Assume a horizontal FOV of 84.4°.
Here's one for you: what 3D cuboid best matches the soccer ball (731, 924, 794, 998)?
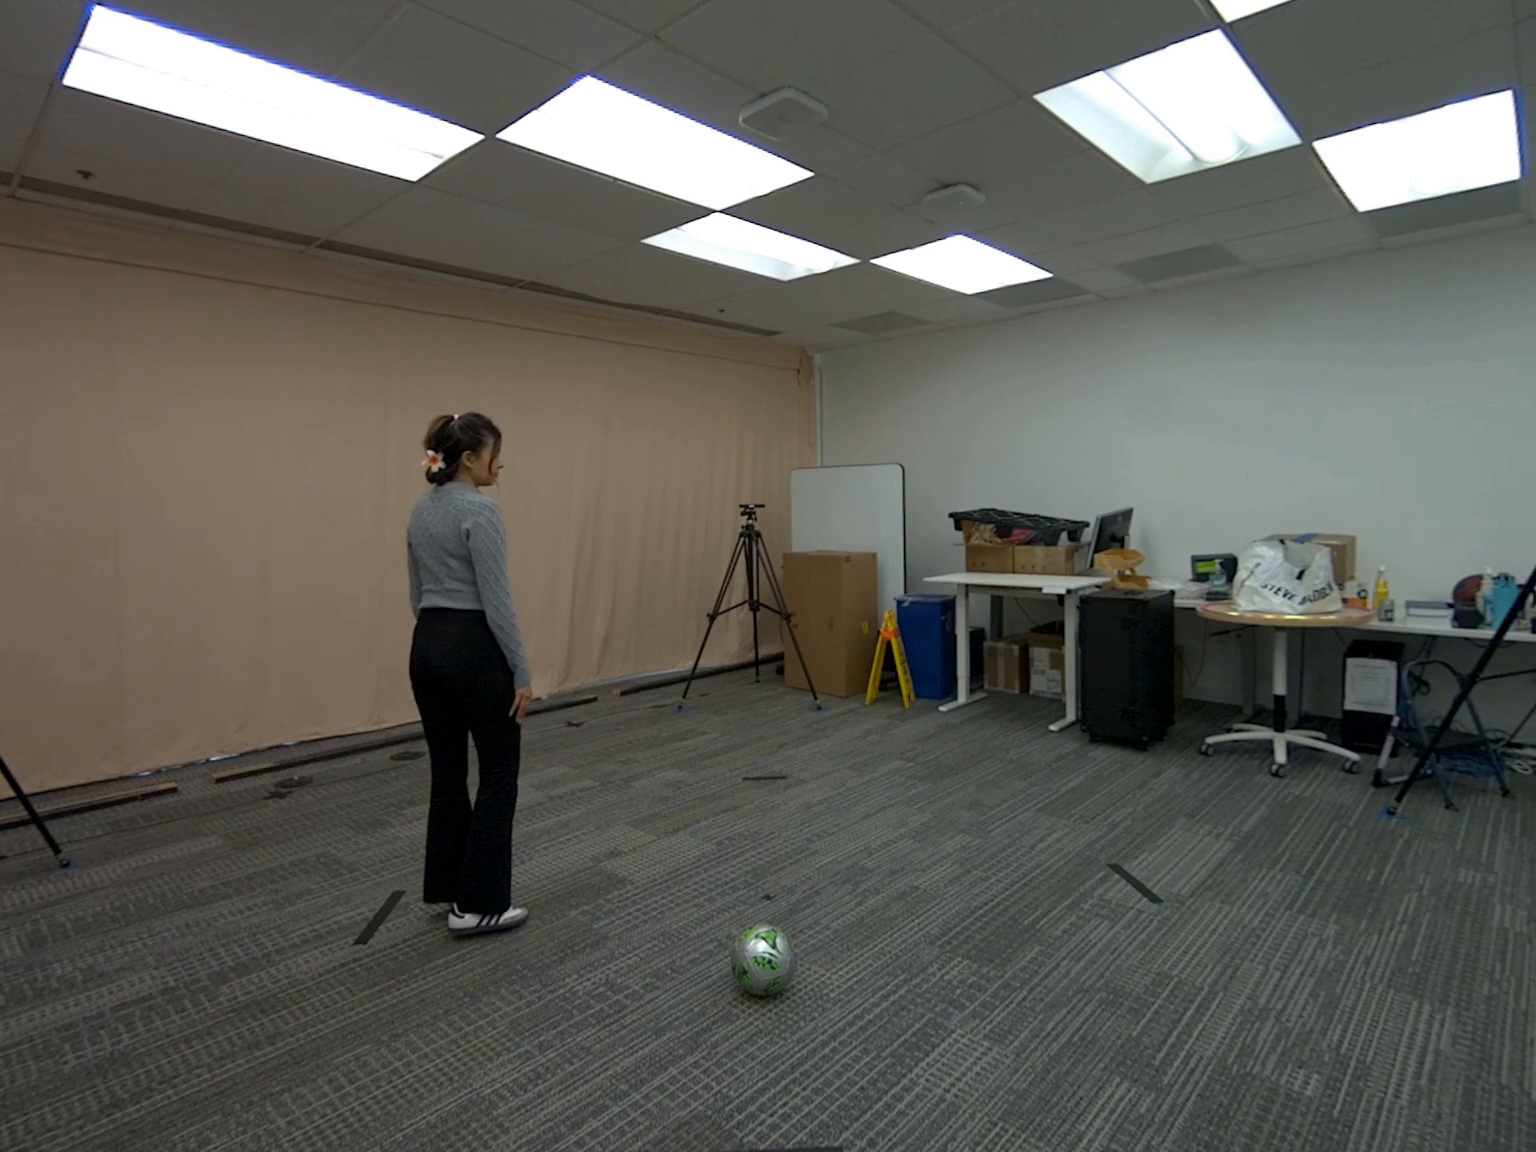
[{"bbox_3d":[-0.010,1.095,2.402,0.187,0.187,0.188,-1,4,-2],"label":"soccer ball"}]
